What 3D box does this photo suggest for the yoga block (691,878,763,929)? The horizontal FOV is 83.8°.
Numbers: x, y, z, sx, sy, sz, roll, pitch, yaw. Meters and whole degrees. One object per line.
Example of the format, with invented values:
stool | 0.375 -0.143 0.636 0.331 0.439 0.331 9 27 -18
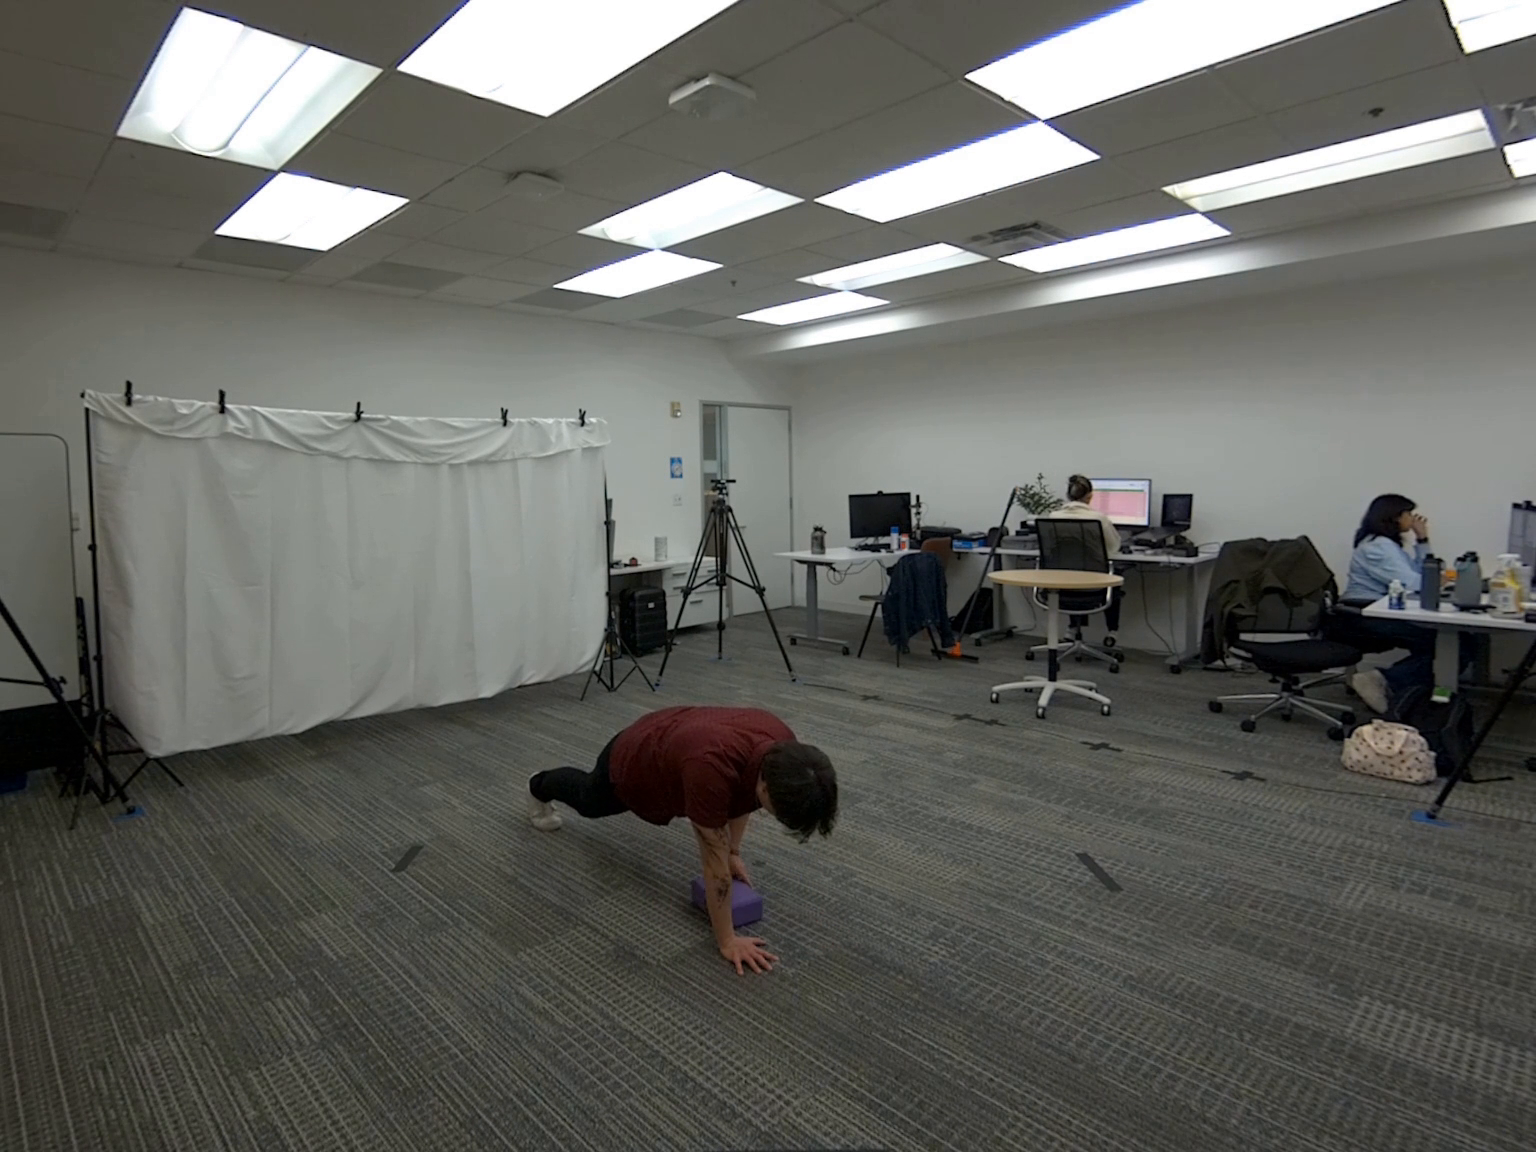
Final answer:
yoga block | -0.134 1.047 2.770 0.145 0.076 0.236 -4 7 -30
